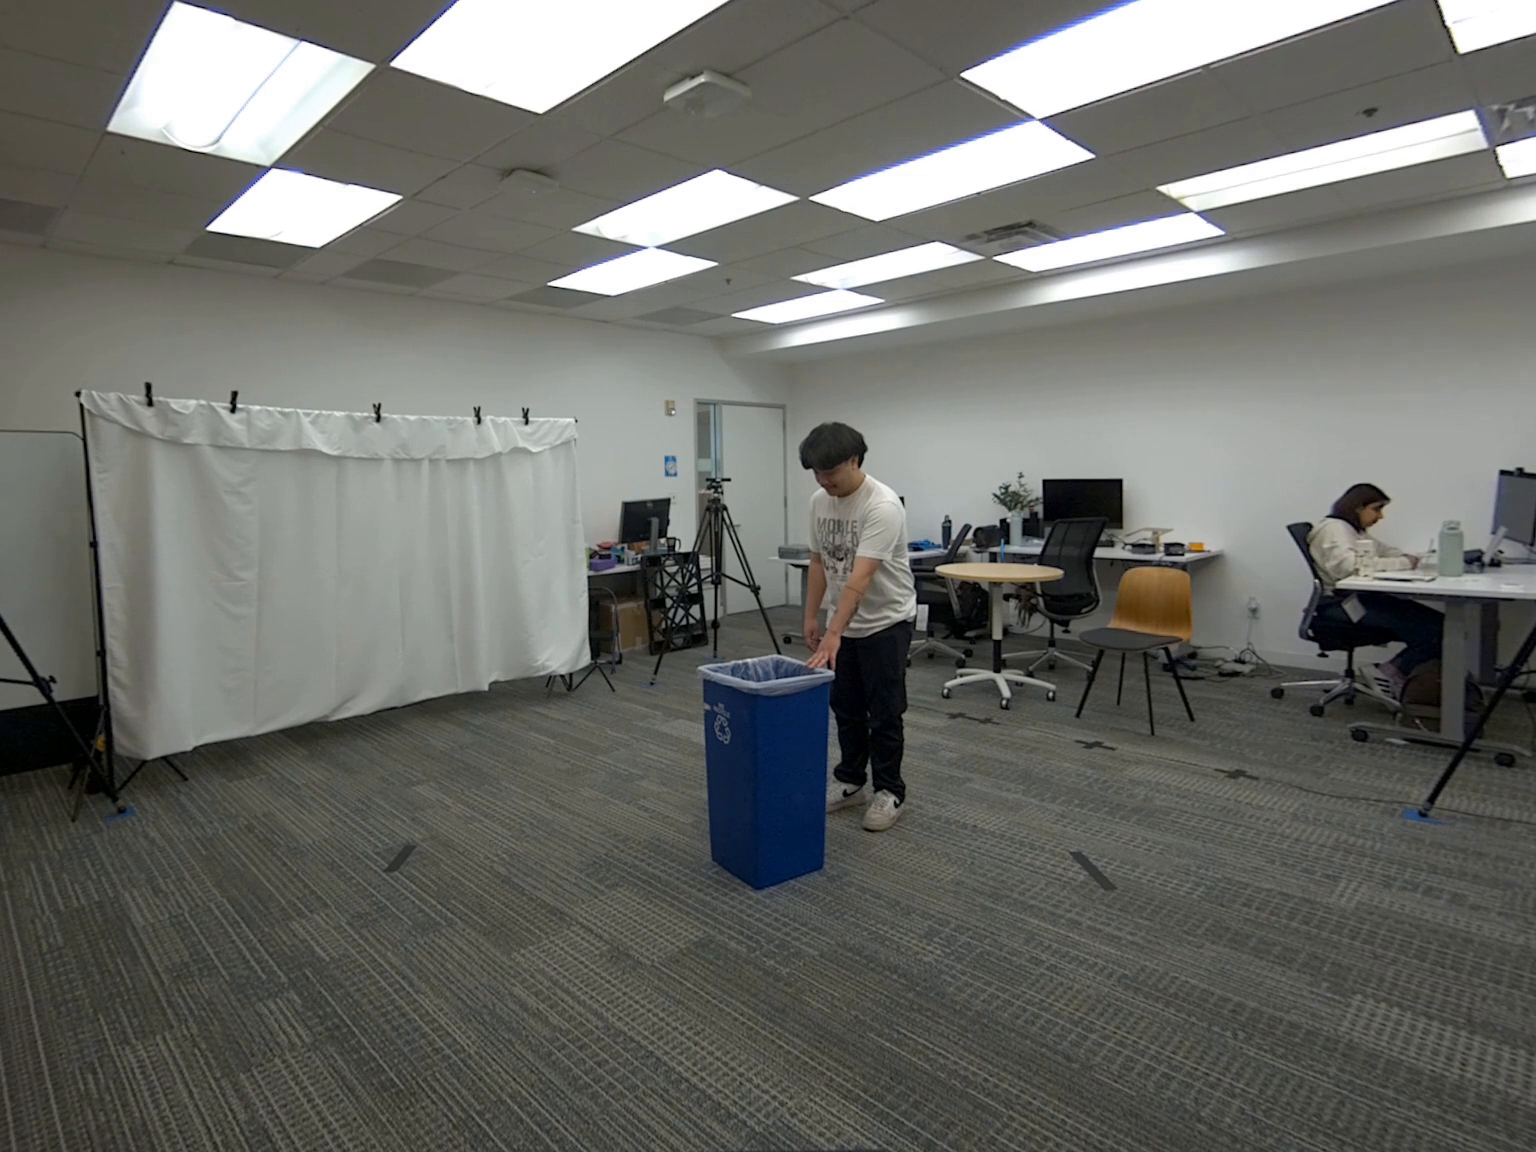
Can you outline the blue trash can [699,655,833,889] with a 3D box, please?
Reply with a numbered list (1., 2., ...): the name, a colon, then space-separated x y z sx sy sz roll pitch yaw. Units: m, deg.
1. blue trash can: 0.001 0.686 3.068 0.368 0.711 0.385 -4 5 -35
